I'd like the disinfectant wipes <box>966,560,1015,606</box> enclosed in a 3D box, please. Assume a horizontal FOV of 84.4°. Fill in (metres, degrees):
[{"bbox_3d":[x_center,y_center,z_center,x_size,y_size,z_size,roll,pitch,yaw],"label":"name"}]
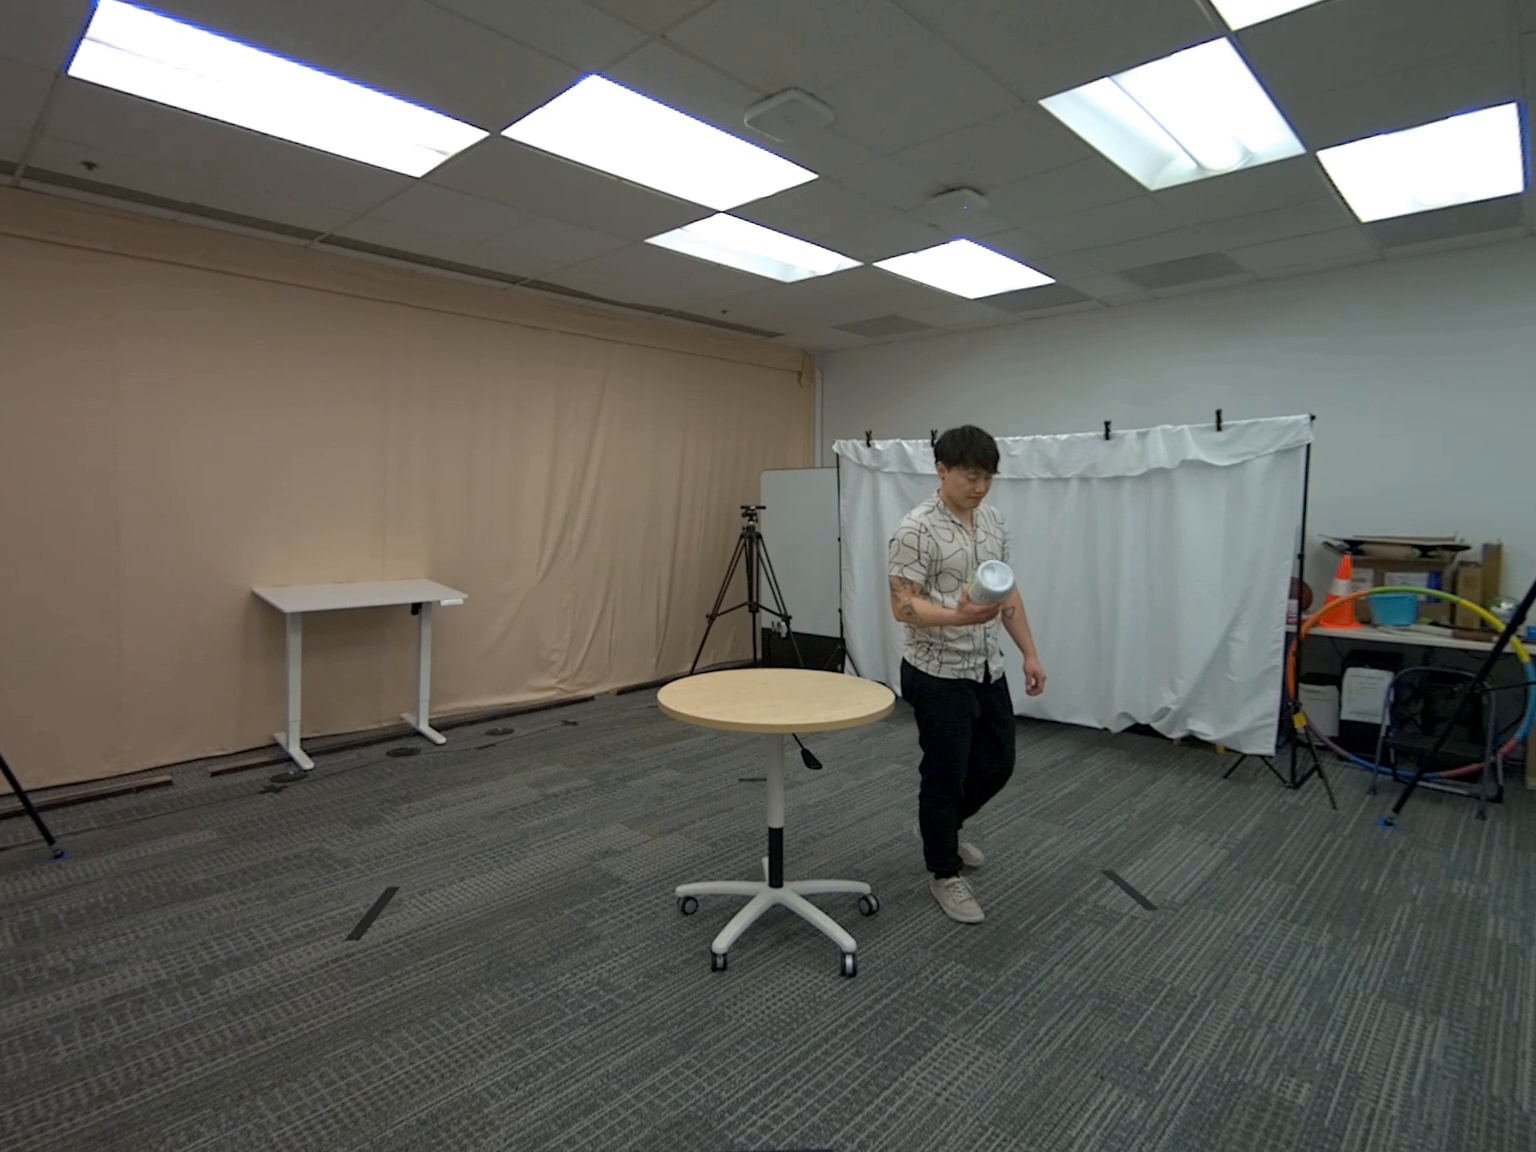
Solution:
[{"bbox_3d":[0.660,0.047,2.562,0.117,0.120,0.215,0,-29,-5],"label":"disinfectant wipes"}]
